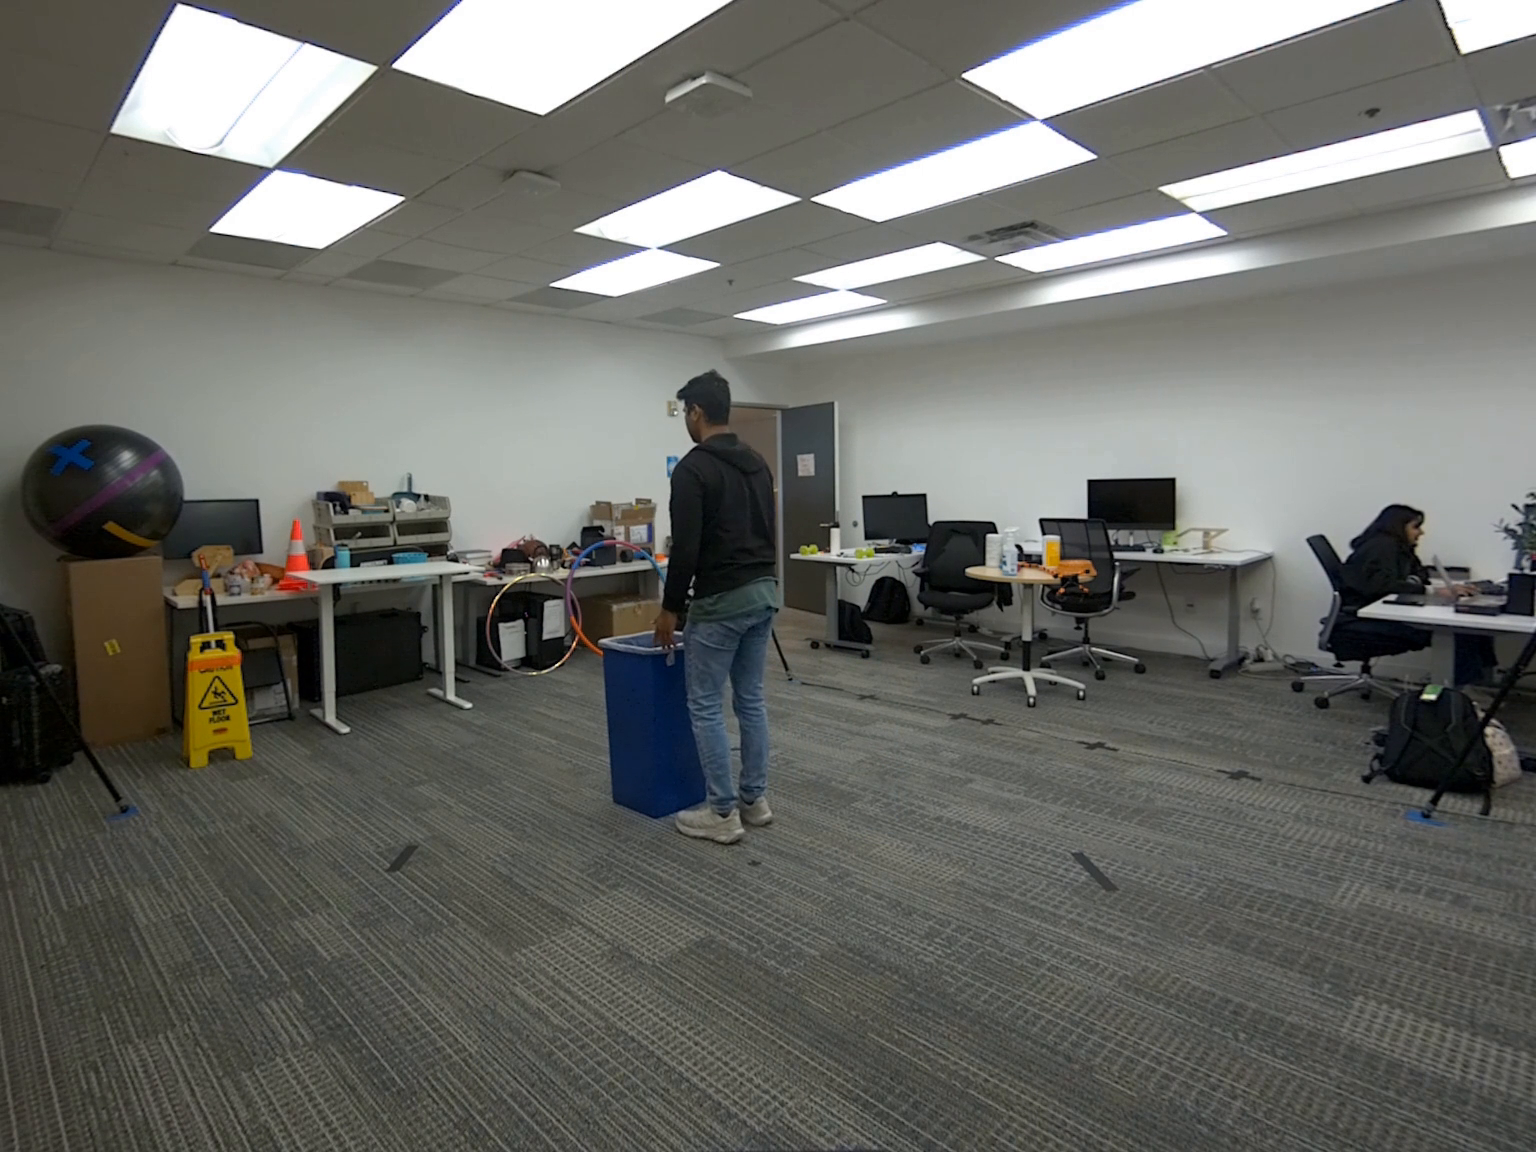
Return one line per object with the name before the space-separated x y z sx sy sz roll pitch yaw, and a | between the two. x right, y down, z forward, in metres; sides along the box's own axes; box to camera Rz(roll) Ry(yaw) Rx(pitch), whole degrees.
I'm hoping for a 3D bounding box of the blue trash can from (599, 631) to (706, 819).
blue trash can | -0.485 0.628 3.720 0.385 0.711 0.368 3 5 44
